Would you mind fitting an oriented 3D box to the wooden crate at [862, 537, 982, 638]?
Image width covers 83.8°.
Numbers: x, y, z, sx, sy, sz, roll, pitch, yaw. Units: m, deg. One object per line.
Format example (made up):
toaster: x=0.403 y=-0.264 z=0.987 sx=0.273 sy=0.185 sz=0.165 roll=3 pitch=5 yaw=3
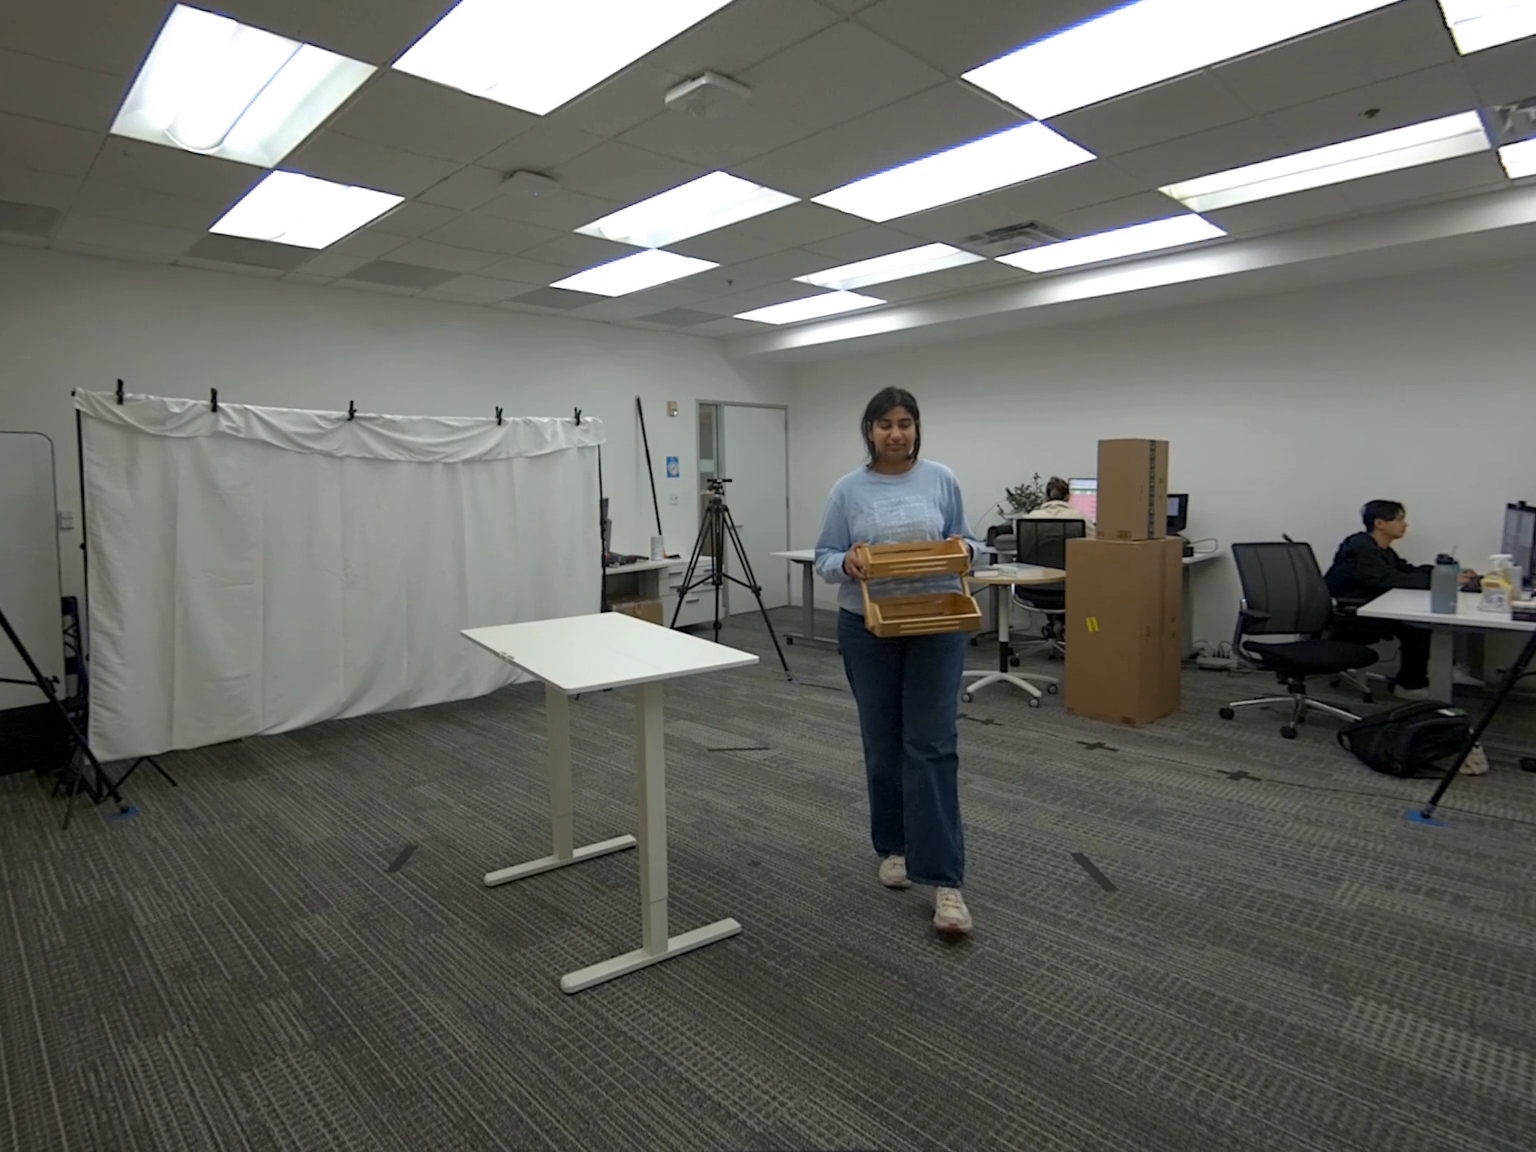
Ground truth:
wooden crate: x=0.468 y=0.031 z=2.648 sx=0.324 sy=0.273 sz=0.302 roll=-4 pitch=2 yaw=0
